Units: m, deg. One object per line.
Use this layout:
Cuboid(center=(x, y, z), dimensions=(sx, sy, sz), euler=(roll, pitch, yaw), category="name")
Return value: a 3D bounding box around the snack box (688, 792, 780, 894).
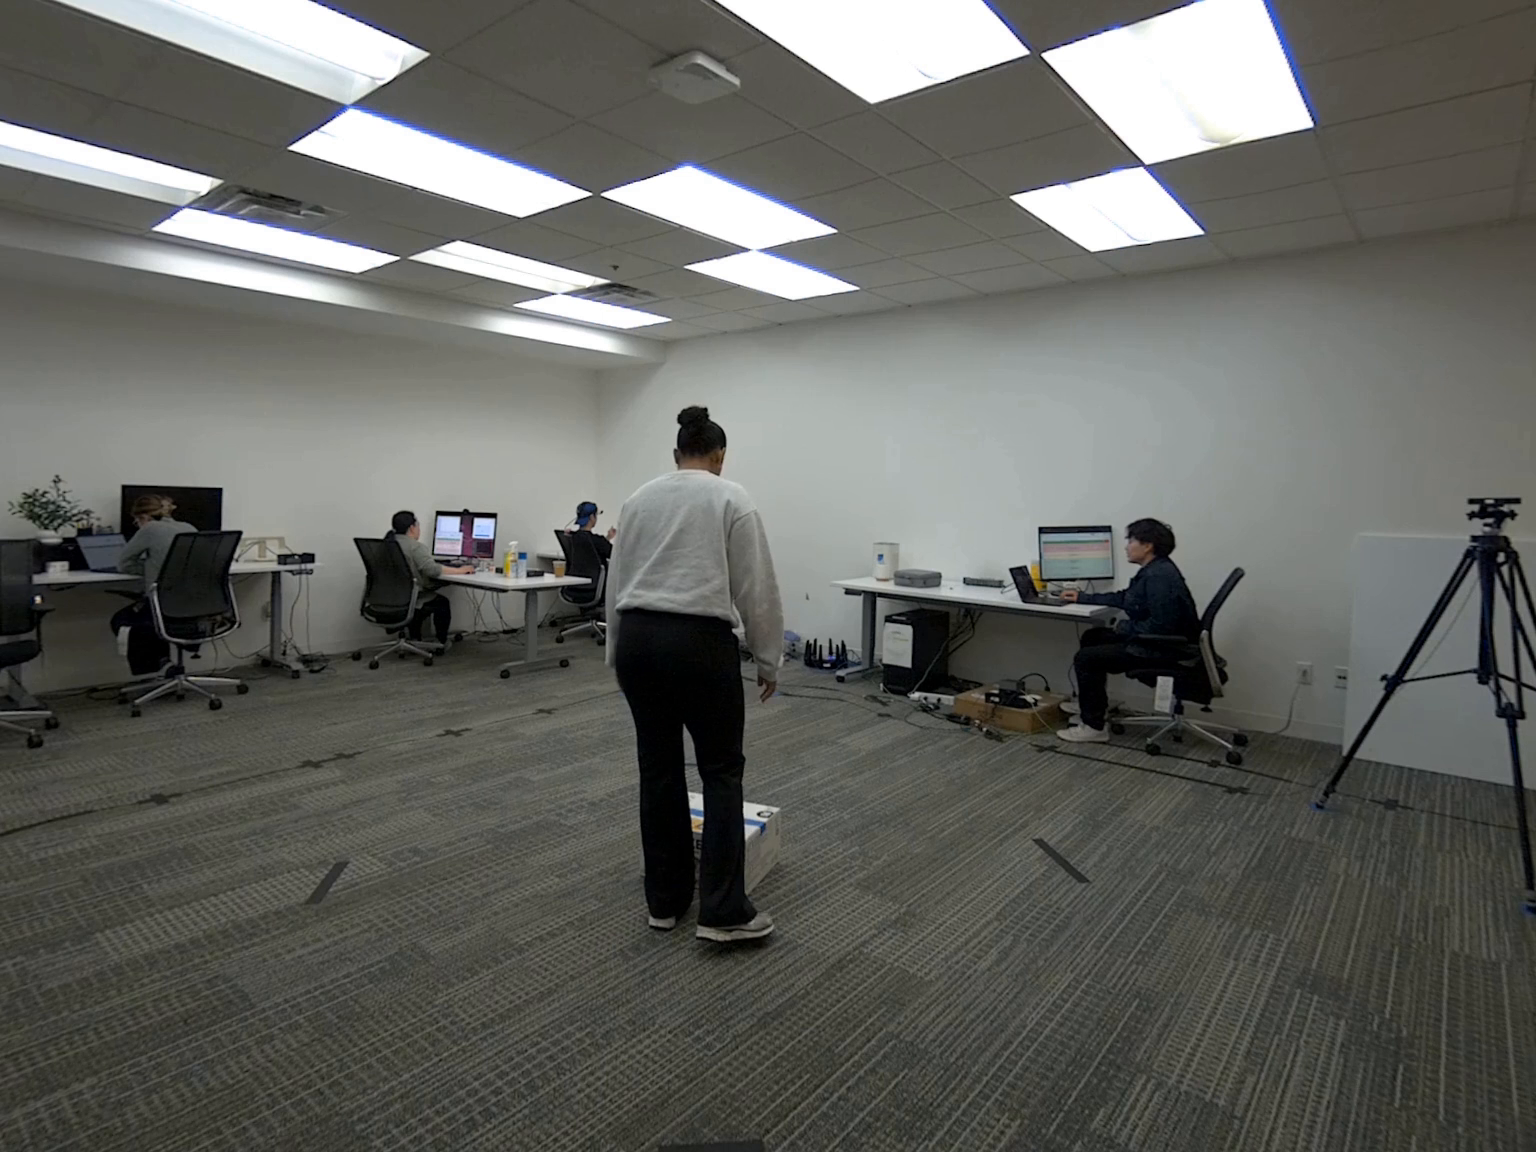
Cuboid(center=(-0.212, 0.964, 3.095), dimensions=(0.415, 0.205, 0.333), euler=(3, 5, 23), category="snack box")
